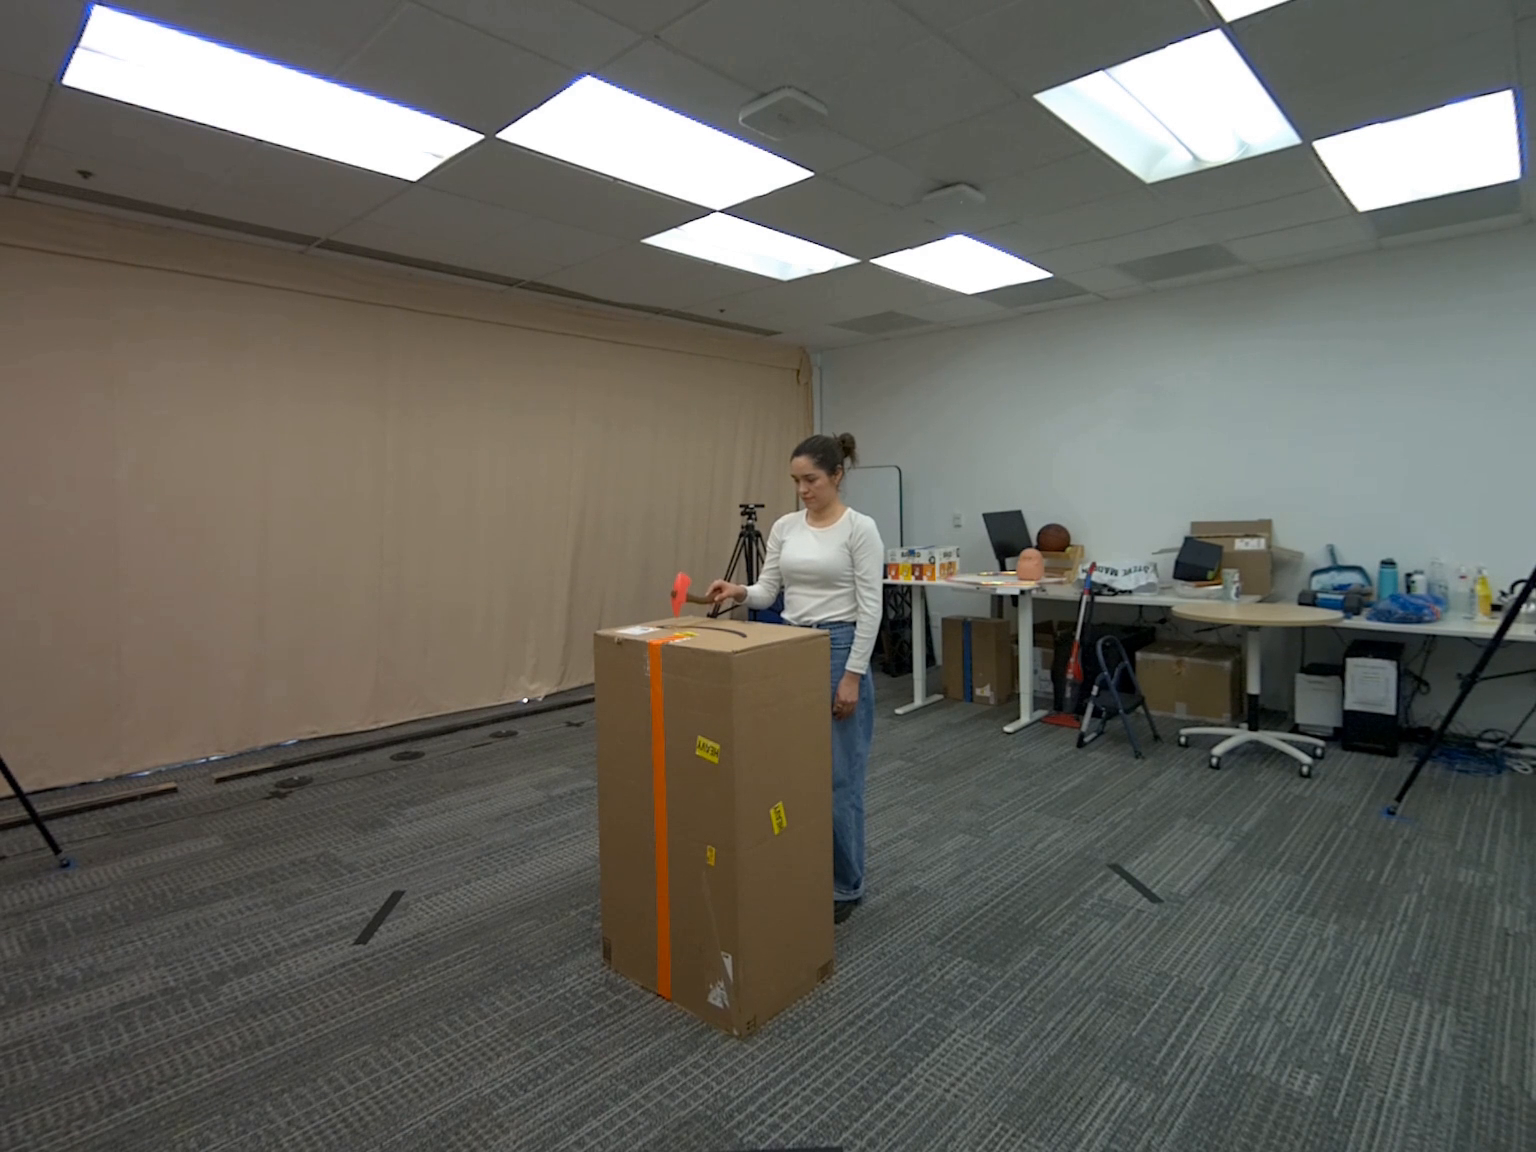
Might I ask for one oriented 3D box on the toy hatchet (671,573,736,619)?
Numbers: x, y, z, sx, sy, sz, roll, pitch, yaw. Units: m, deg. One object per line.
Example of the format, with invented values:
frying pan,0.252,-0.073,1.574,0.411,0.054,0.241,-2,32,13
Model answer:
toy hatchet,-0.216,0.044,2.654,0.030,0.130,0.264,-3,8,32
